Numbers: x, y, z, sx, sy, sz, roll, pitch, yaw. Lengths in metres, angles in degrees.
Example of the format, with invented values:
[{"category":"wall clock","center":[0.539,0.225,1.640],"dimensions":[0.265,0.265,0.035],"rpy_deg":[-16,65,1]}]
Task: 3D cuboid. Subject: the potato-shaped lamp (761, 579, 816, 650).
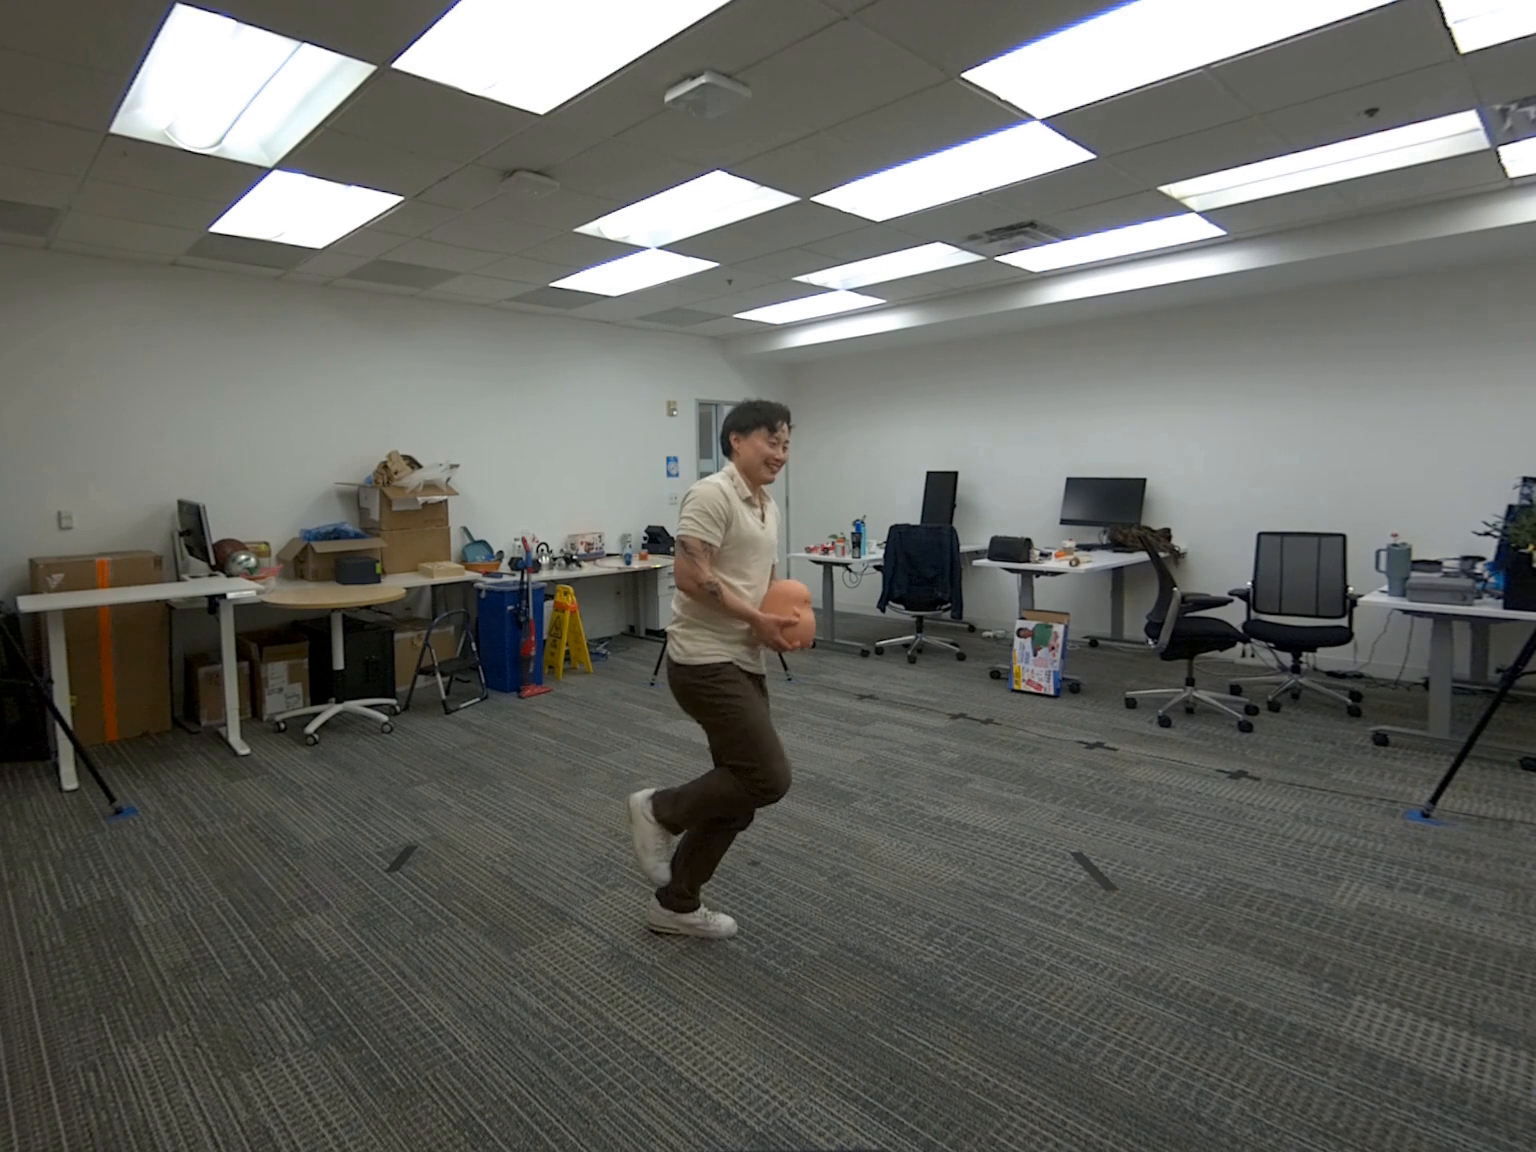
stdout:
[{"category":"potato-shaped lamp","center":[0.057,0.083,2.574],"dimensions":[0.176,0.198,0.160],"rpy_deg":[9,0,26]}]
